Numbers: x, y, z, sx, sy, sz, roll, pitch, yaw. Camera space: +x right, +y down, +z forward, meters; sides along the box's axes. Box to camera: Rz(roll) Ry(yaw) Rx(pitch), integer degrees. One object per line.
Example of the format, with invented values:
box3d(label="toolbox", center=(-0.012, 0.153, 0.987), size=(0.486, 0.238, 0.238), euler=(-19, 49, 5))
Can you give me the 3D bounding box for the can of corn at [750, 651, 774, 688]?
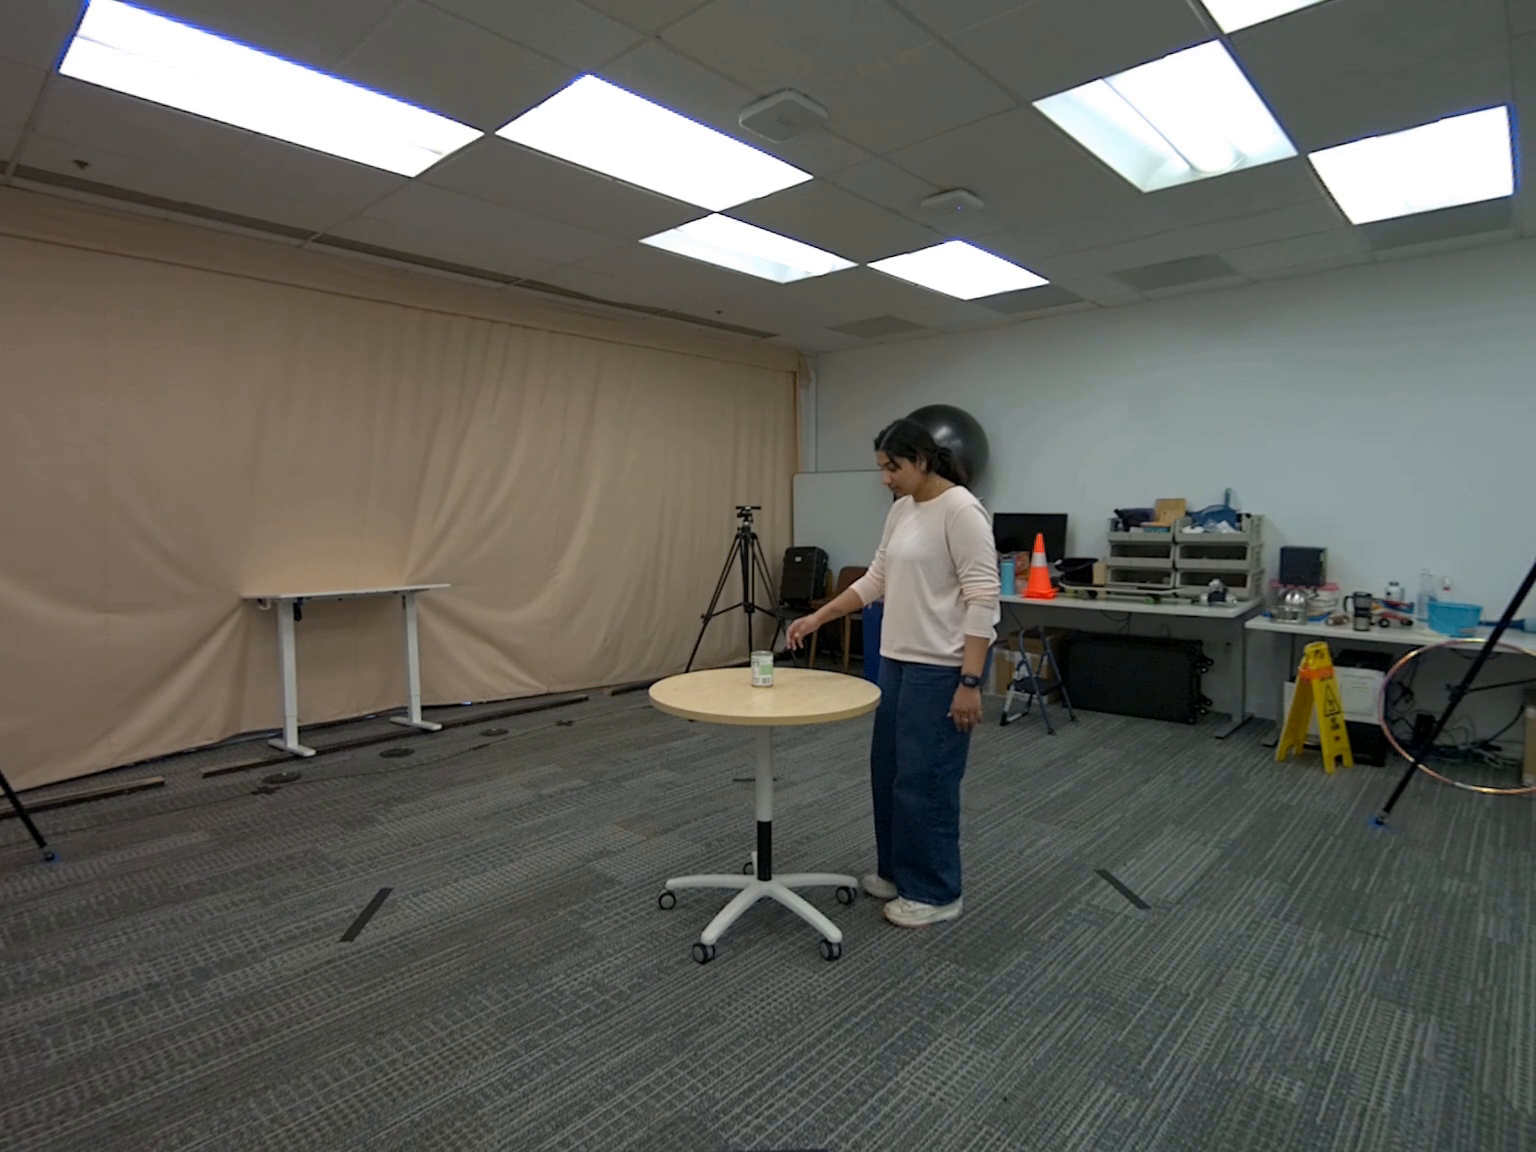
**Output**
box3d(label="can of corn", center=(-0.015, 0.318, 2.848), size=(0.074, 0.111, 0.074), euler=(-1, 2, -2))
